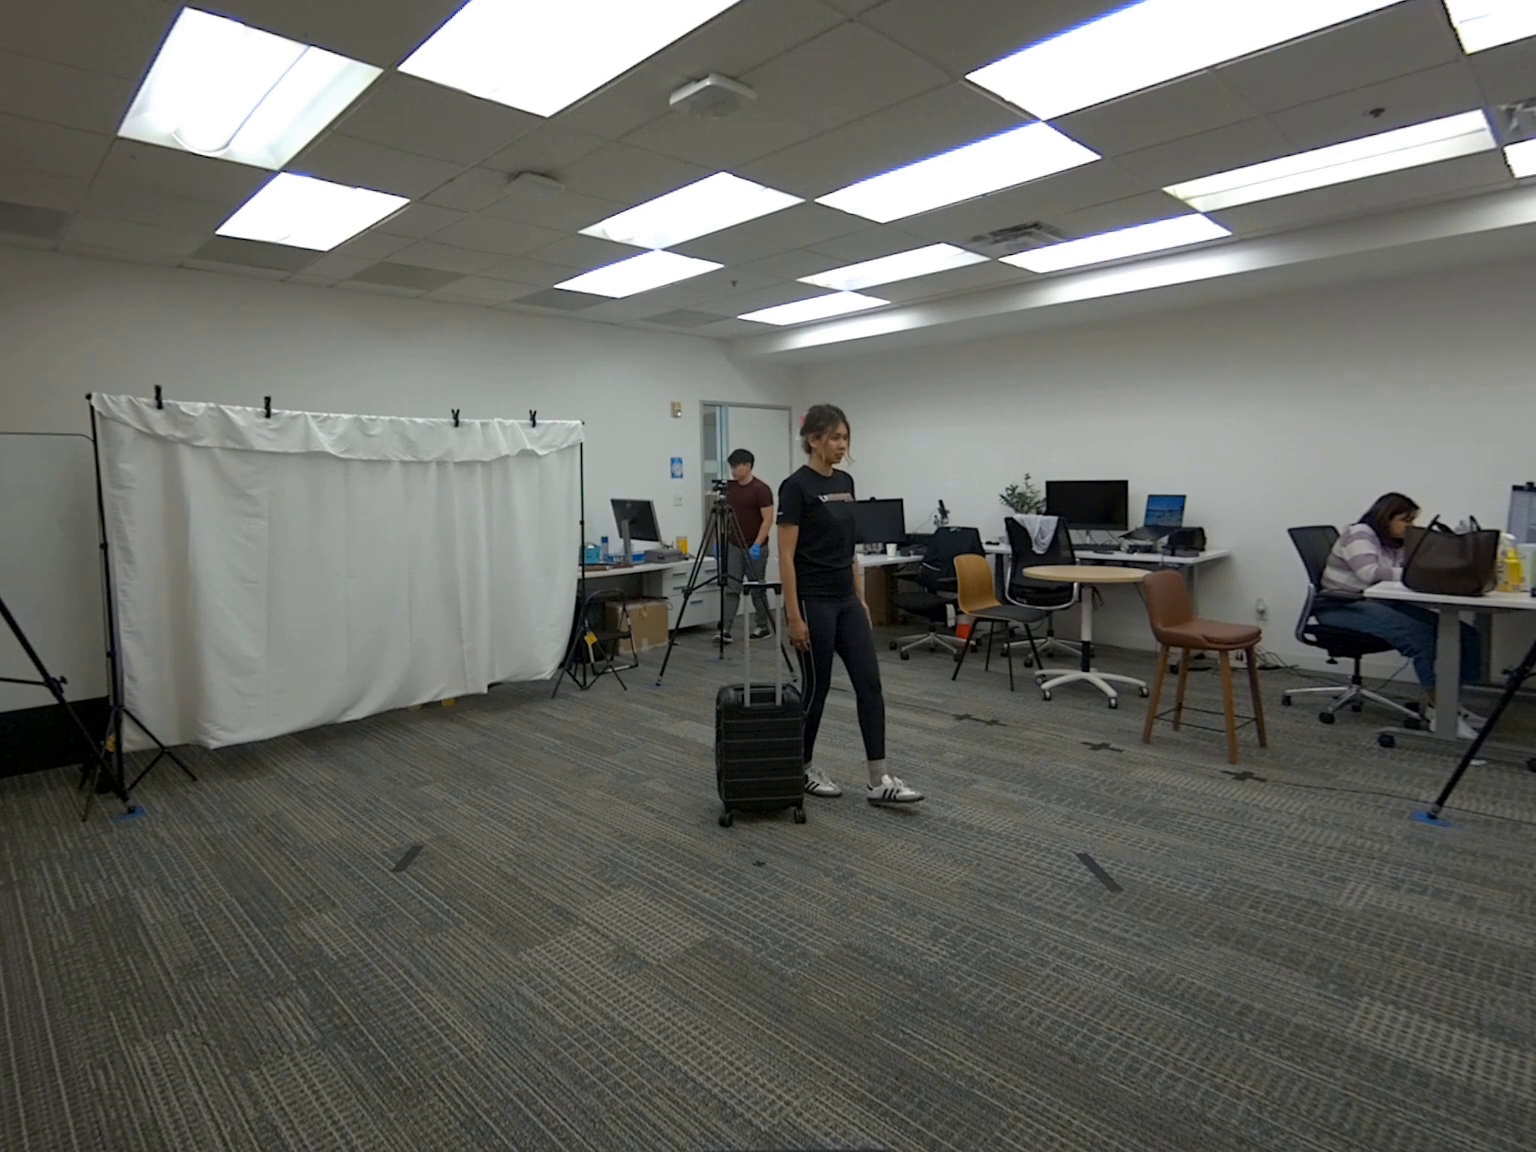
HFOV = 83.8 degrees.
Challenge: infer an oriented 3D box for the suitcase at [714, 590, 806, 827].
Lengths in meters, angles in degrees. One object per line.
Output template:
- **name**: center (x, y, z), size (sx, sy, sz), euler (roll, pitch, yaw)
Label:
- **suitcase**: center (-0.037, 0.520, 3.561), size (0.383, 0.977, 0.258), euler (0, 1, -3)
